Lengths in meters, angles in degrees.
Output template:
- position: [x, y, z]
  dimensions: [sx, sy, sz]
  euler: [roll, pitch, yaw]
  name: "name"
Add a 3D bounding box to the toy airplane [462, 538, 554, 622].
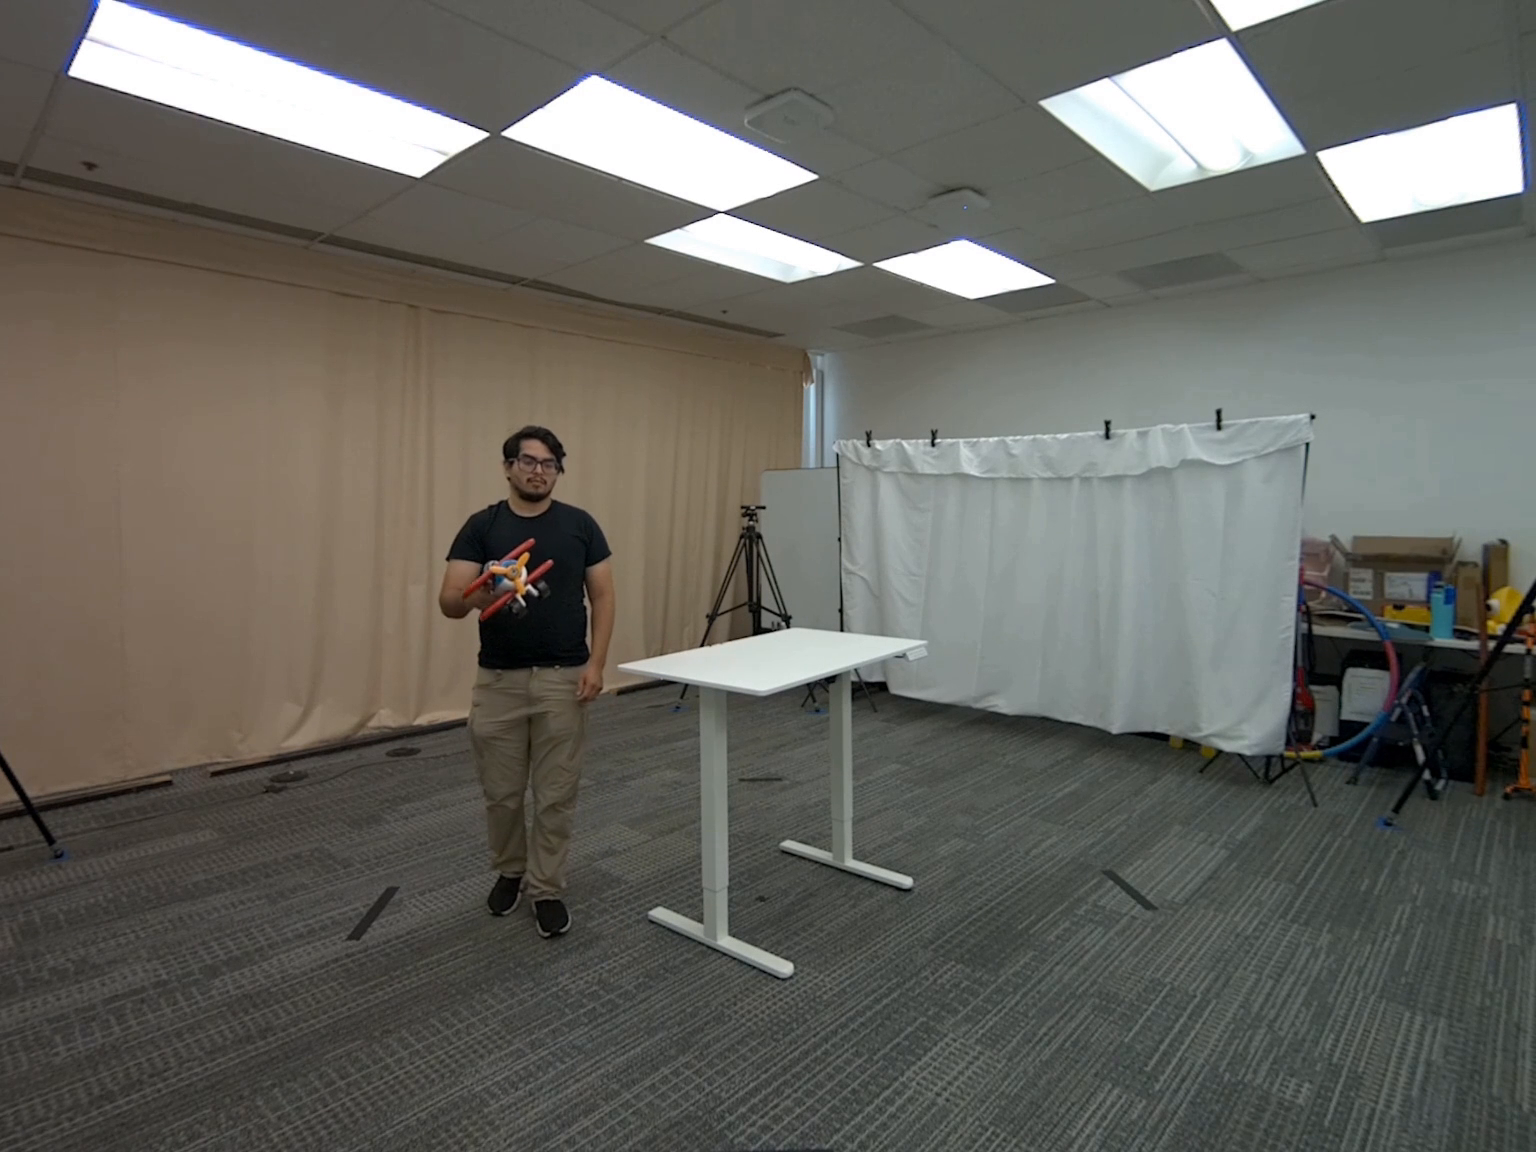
- position: [-0.741, 0.034, 2.361]
  dimensions: [0.264, 0.153, 0.251]
  euler: [-21, 21, 29]
  name: "toy airplane"
